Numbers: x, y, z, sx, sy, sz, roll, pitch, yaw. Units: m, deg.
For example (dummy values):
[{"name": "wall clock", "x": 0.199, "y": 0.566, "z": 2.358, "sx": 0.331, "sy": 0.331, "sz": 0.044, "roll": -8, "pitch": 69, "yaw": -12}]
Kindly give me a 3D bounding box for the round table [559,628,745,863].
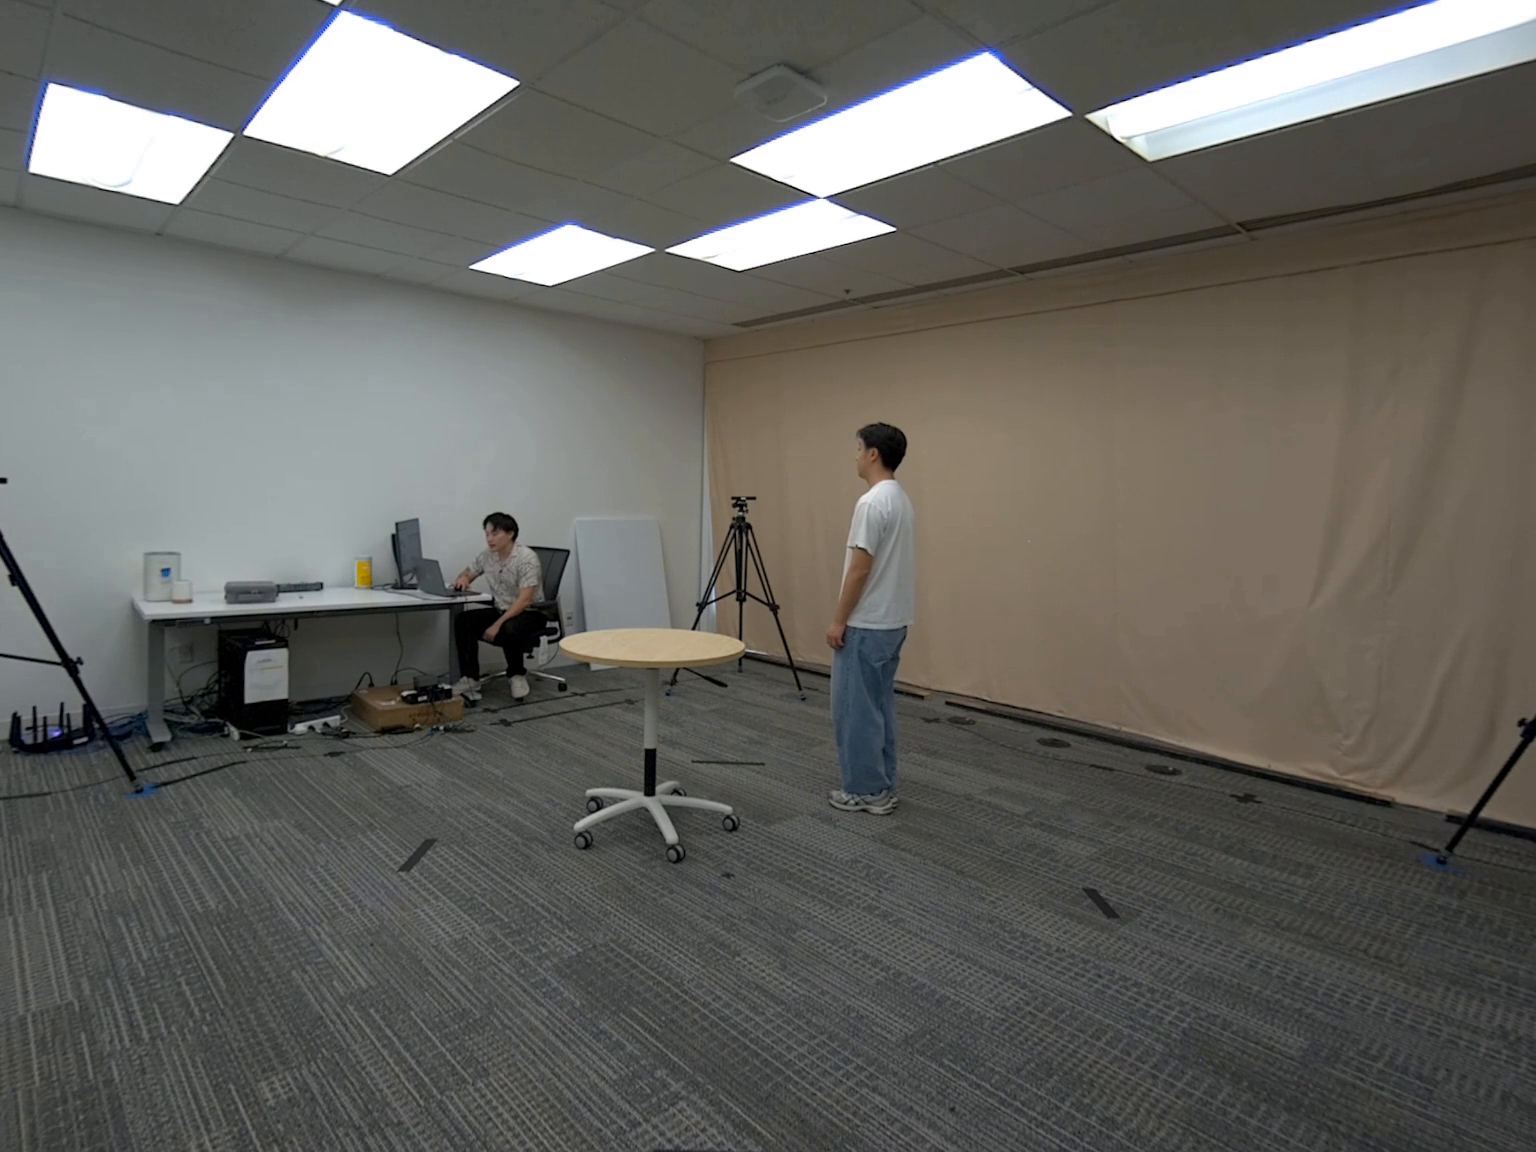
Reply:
[{"name": "round table", "x": -0.496, "y": 0.673, "z": 3.509, "sx": 0.763, "sy": 0.792, "sz": 0.766, "roll": 1, "pitch": 4, "yaw": -1}]
